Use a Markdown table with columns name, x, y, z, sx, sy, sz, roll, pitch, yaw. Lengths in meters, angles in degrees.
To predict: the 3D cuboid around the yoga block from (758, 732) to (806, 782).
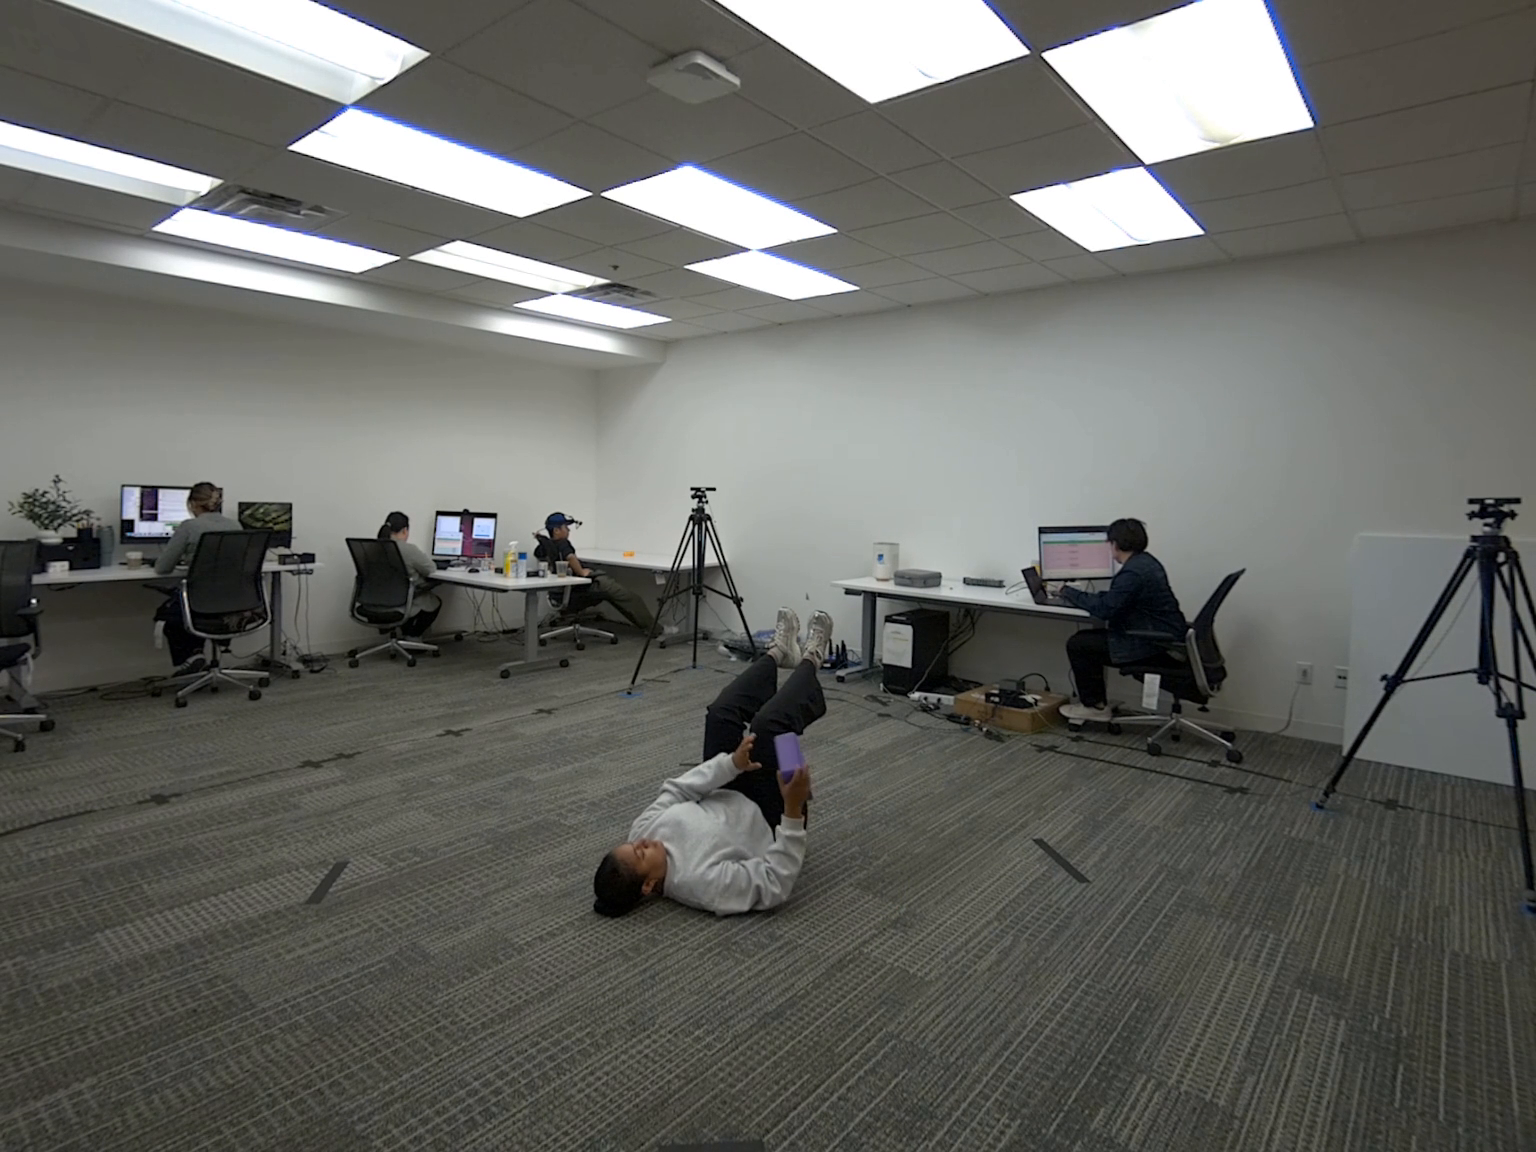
| name | x | y | z | sx | sy | sz | roll | pitch | yaw |
| --- | --- | --- | --- | --- | --- | --- | --- | --- | --- |
| yoga block | 0.057 | 0.685 | 2.947 | 0.076 | 0.221 | 0.154 | -10 | 46 | 2 |
